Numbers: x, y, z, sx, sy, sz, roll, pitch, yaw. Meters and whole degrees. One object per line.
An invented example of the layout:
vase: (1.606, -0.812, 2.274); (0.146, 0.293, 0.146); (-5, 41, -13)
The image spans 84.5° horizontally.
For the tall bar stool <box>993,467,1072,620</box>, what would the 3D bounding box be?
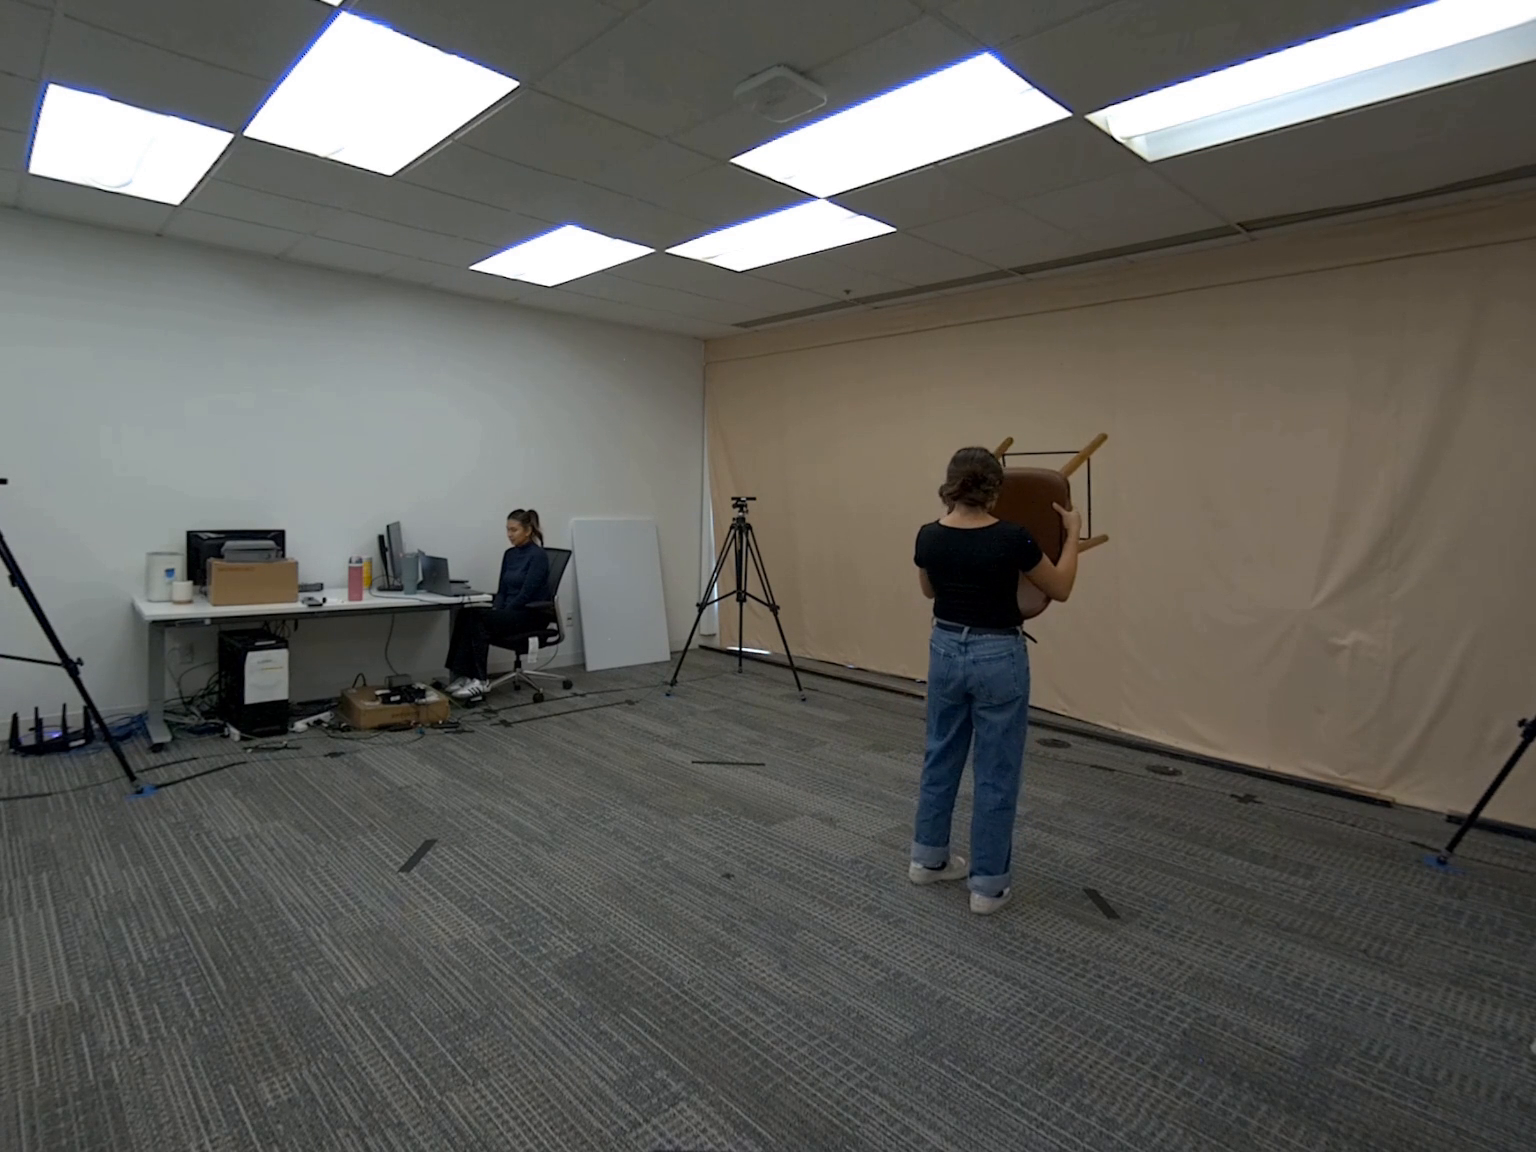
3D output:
tall bar stool: (0.973, -0.214, 3.206); (0.468, 0.460, 0.881); (4, 24, 38)
